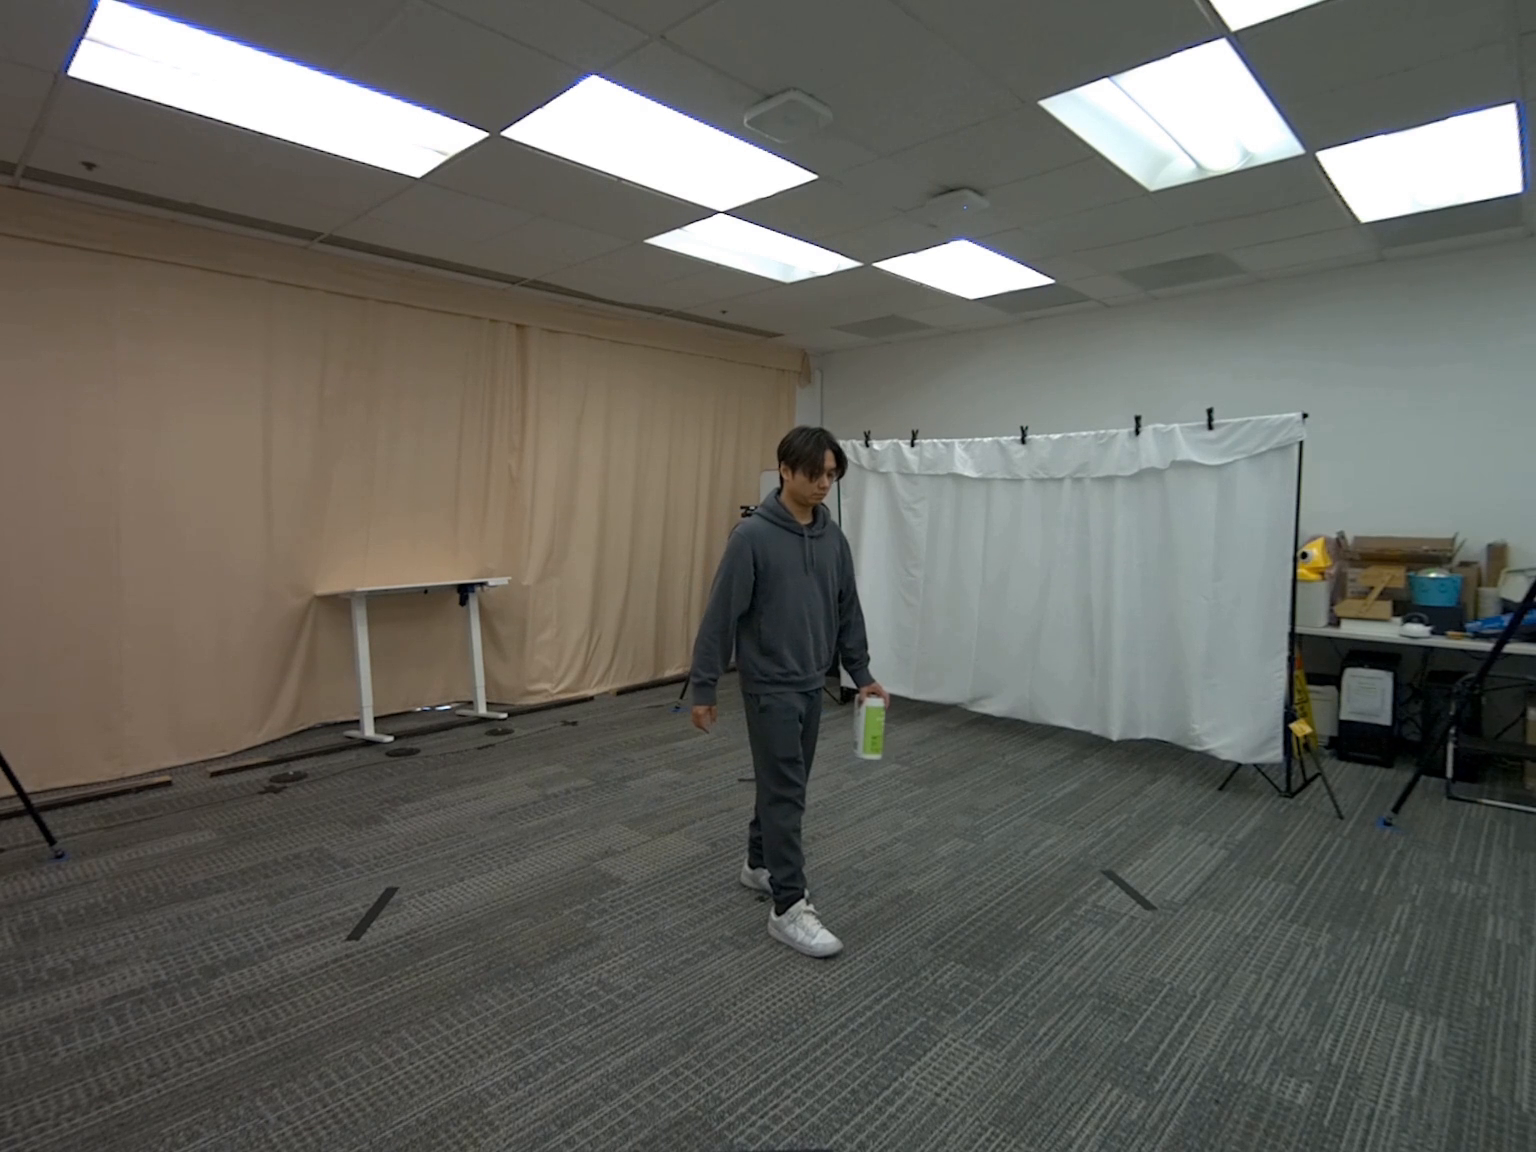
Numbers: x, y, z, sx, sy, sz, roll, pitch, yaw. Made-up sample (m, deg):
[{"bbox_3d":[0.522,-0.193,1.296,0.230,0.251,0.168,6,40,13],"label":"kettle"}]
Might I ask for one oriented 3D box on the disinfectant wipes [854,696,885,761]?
[{"bbox_3d":[0.360,0.534,2.970,0.118,0.217,0.118,4,0,-2],"label":"disinfectant wipes"}]
